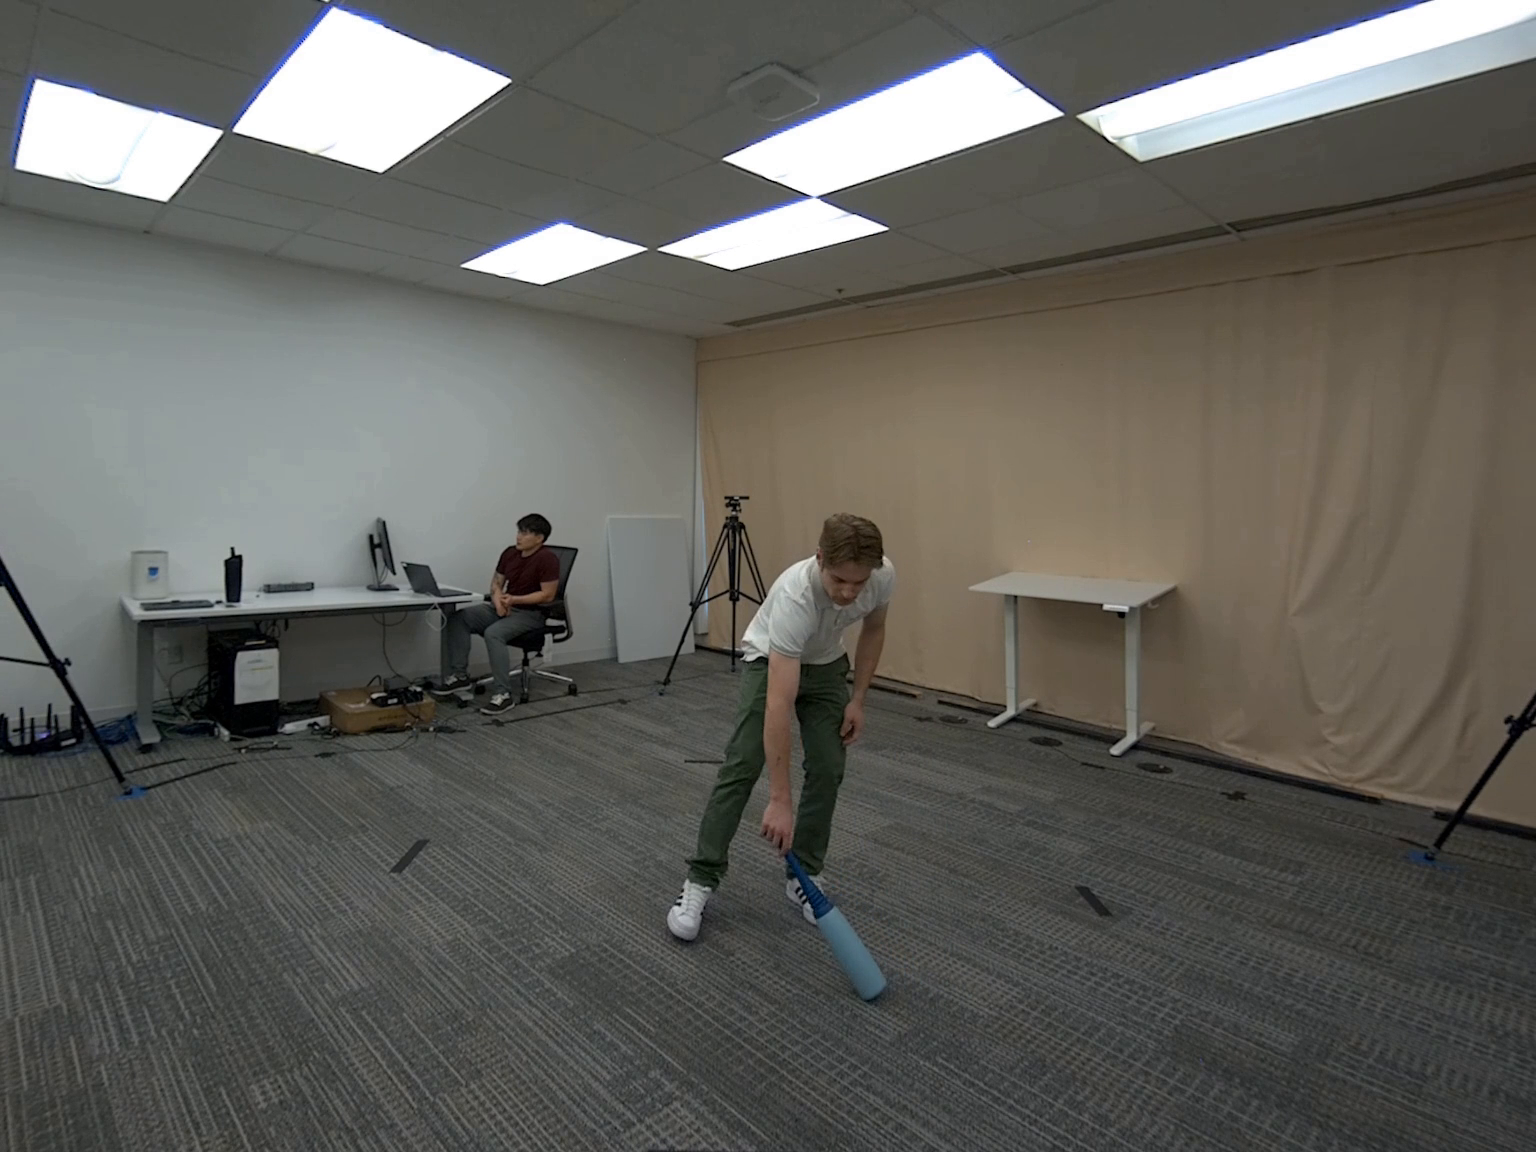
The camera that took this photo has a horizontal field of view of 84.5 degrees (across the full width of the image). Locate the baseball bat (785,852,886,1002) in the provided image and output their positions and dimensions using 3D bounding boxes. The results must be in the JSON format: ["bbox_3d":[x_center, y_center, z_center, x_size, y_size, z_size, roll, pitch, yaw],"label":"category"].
[{"bbox_3d":[0.146,0.955,2.405,0.089,0.551,0.088,-33,-13,-9],"label":"baseball bat"}]
